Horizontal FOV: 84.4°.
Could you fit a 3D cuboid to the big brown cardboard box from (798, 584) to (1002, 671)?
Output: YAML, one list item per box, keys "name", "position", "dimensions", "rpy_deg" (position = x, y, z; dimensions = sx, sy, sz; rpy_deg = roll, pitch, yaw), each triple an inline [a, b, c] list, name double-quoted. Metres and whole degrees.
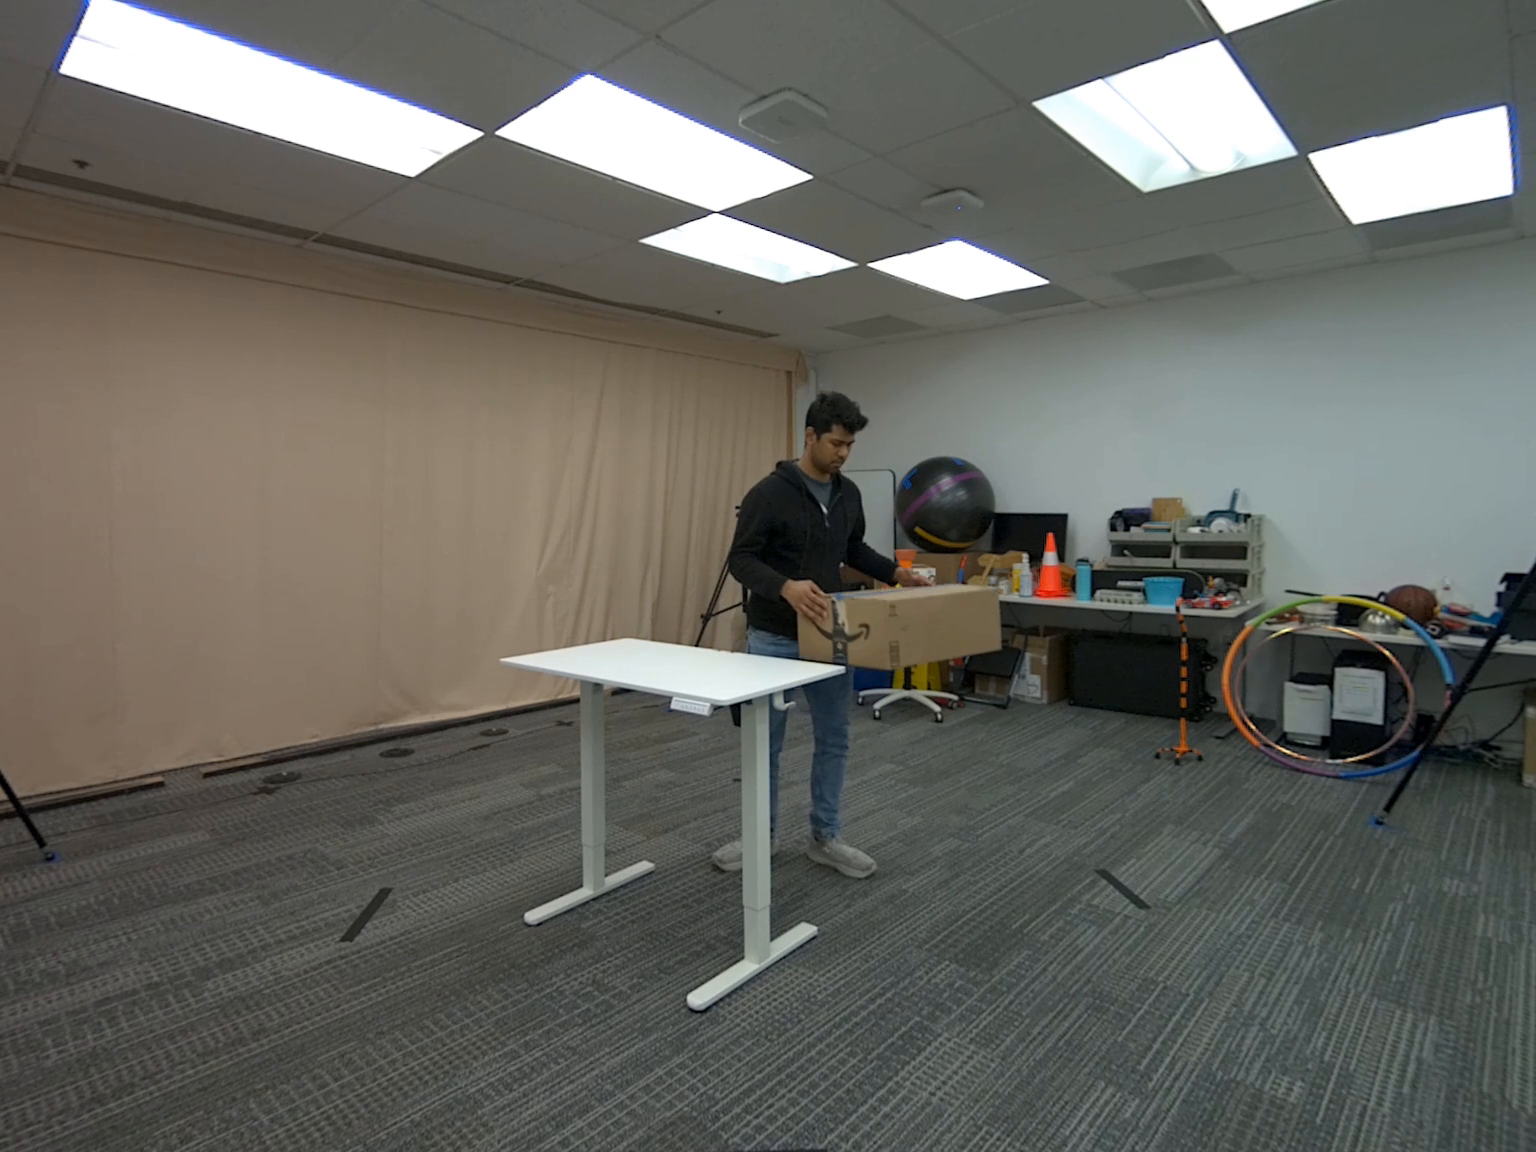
- name: "big brown cardboard box"
  position: [0.446, 0.174, 2.882]
  dimensions: [0.572, 0.233, 0.430]
  rpy_deg: [-5, 3, -36]
